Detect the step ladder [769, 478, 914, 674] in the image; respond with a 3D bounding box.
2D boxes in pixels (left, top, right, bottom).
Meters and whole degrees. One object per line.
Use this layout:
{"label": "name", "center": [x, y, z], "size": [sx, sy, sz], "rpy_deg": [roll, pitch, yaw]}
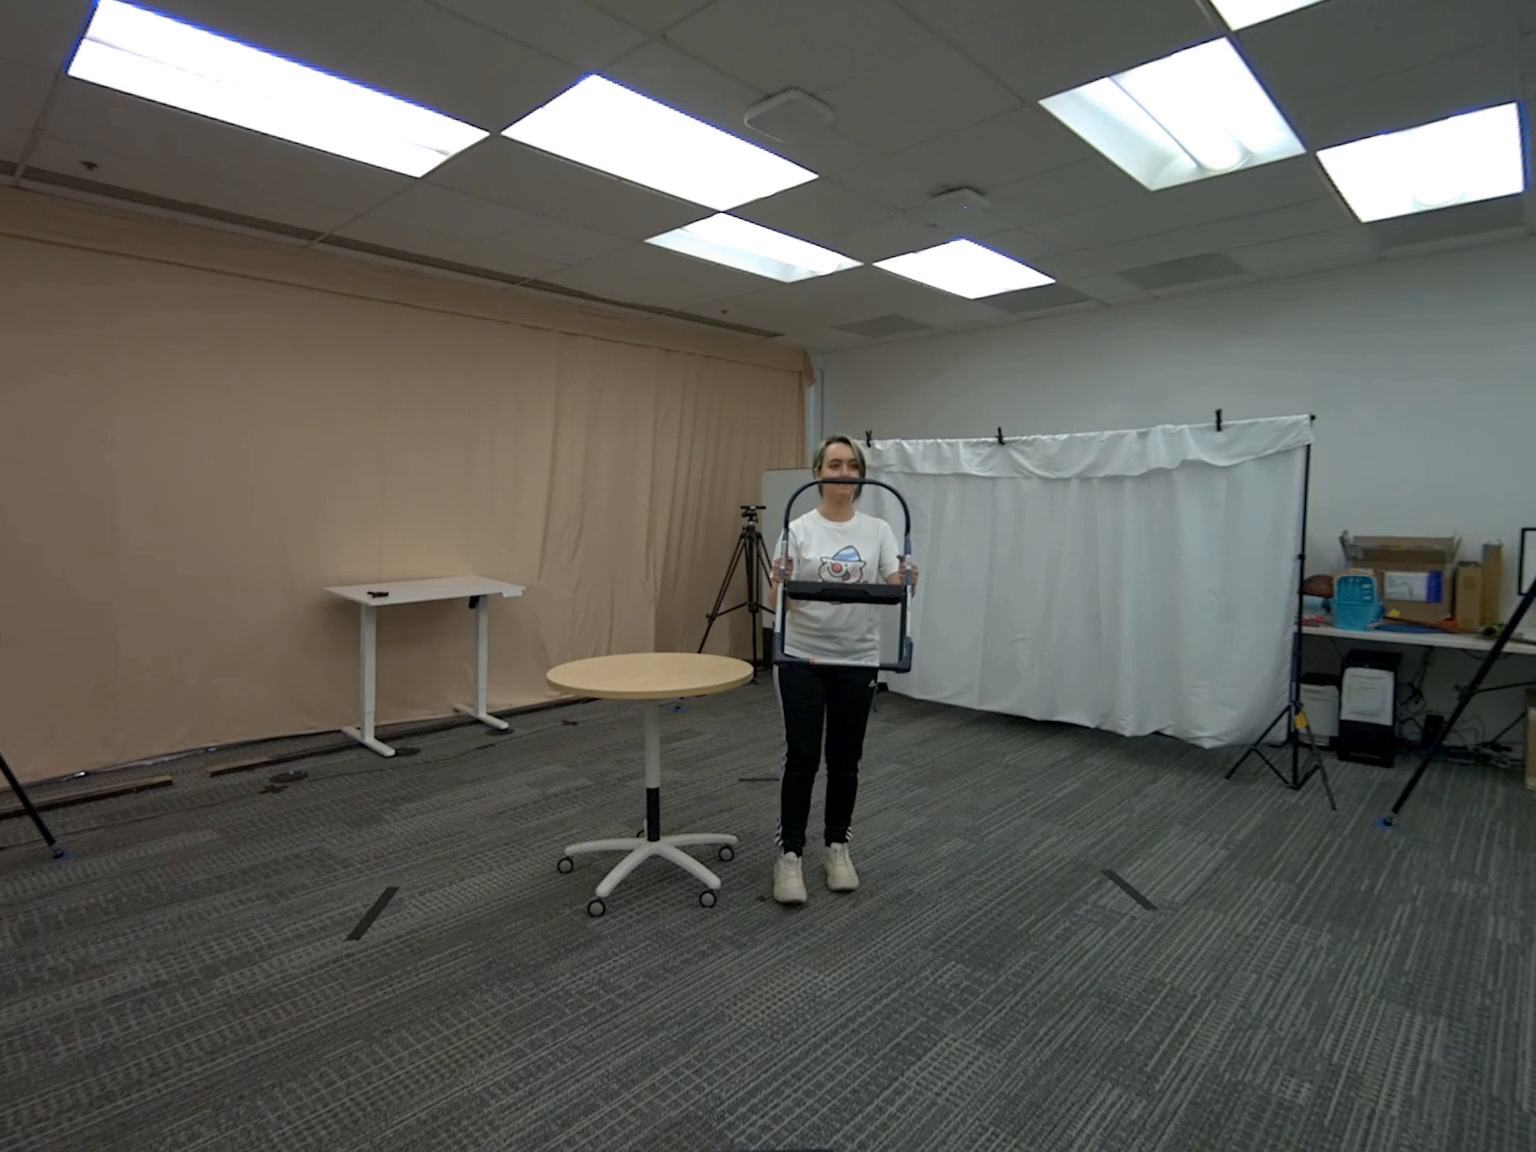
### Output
{"label": "step ladder", "center": [0.259, -0.003, 2.726], "size": [0.434, 0.608, 0.345], "rpy_deg": [2, -7, 5]}
